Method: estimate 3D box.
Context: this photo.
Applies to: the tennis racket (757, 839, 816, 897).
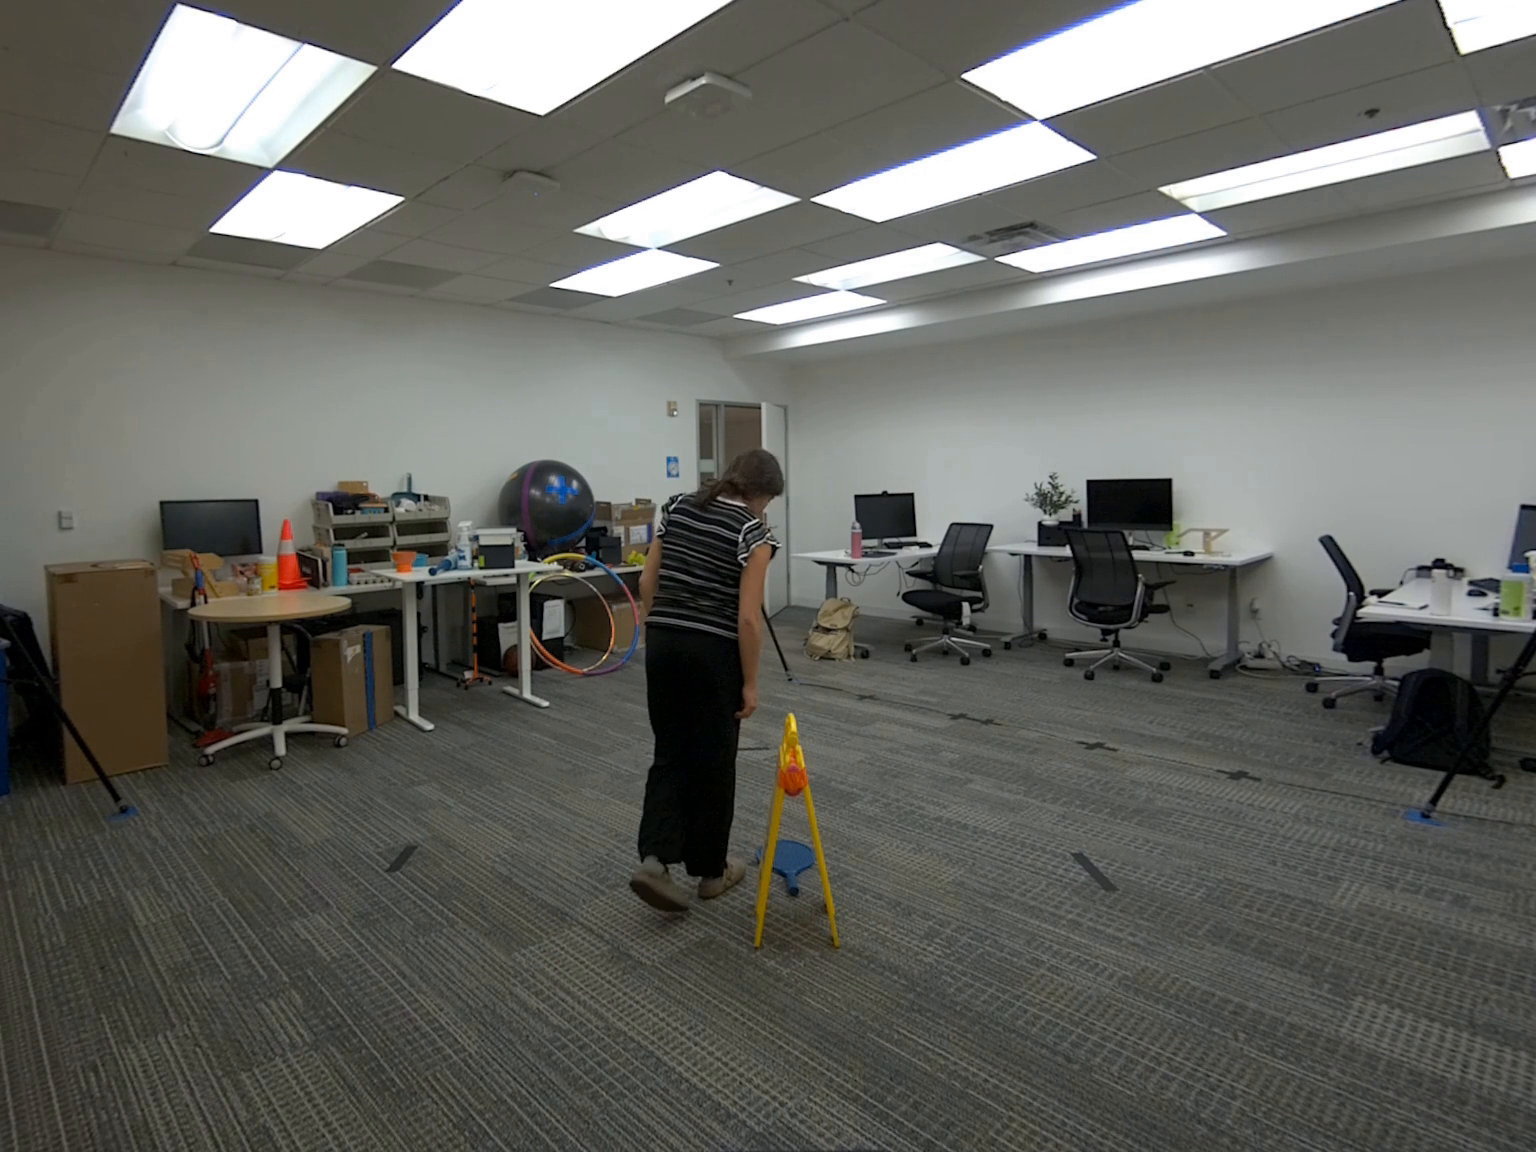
[{"bbox_3d":[0.068,1.031,3.070,0.214,0.031,0.434,0,5,0],"label":"tennis racket"}]
